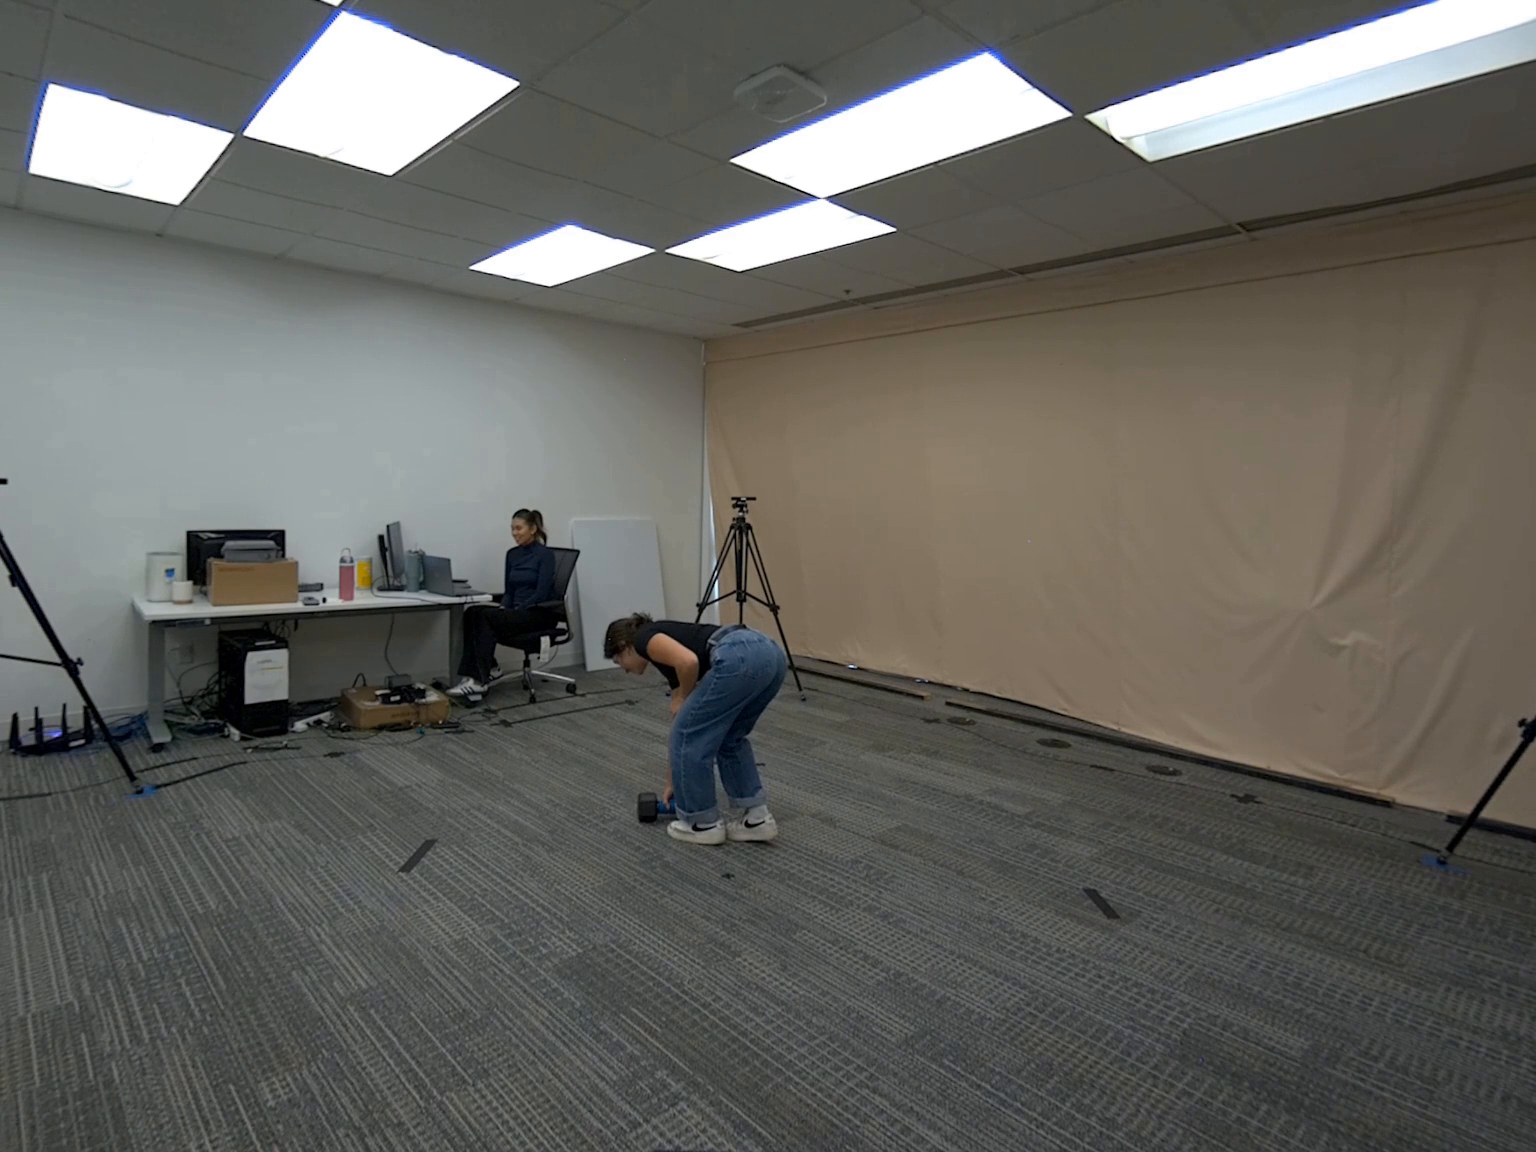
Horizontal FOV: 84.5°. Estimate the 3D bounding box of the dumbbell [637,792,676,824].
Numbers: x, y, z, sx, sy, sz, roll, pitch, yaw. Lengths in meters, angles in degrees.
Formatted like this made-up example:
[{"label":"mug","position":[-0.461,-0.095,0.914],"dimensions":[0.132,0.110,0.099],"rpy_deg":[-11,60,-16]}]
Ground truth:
[{"label":"dumbbell","position":[-0.422,0.990,3.636],"dimensions":[0.291,0.124,0.108],"rpy_deg":[1,-14,-10]}]
